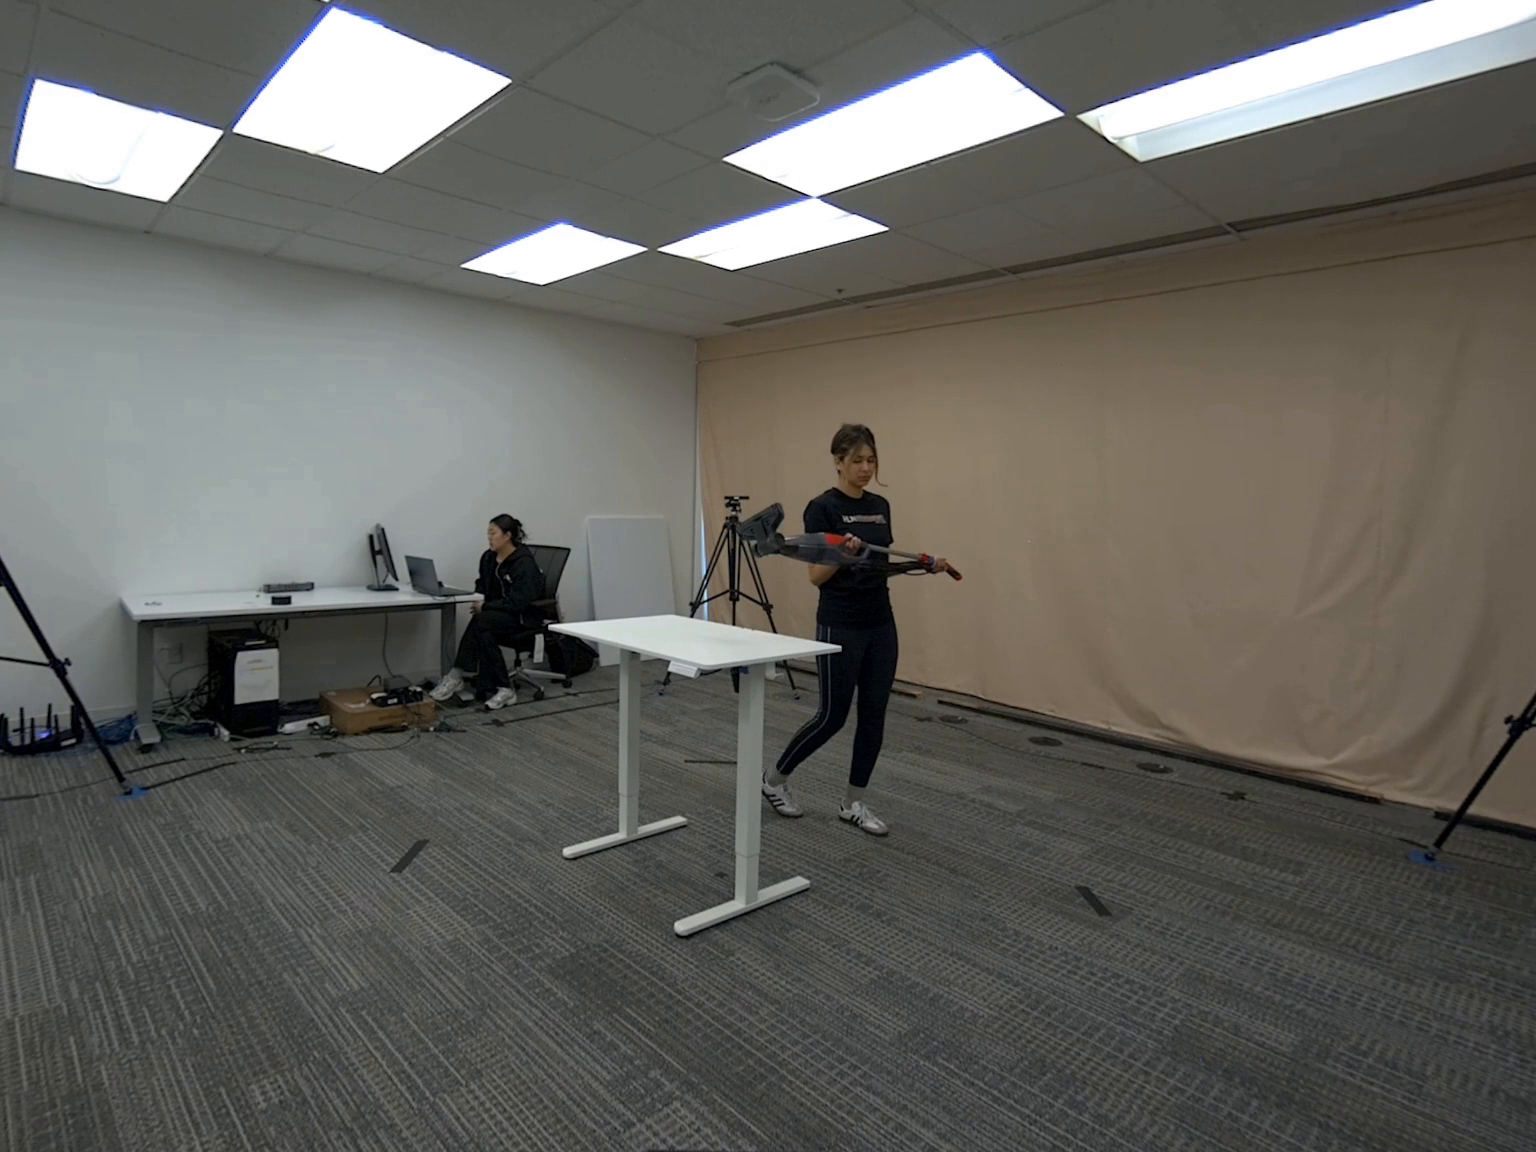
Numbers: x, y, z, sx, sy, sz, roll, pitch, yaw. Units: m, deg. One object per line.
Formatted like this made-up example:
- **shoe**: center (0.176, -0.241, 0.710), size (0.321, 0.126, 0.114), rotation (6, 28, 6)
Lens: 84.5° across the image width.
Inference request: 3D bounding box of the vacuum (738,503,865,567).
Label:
- **vacuum**: center (0.386, -0.066, 3.252), size (1.023, 0.146, 0.255), rotation (12, -23, -33)
